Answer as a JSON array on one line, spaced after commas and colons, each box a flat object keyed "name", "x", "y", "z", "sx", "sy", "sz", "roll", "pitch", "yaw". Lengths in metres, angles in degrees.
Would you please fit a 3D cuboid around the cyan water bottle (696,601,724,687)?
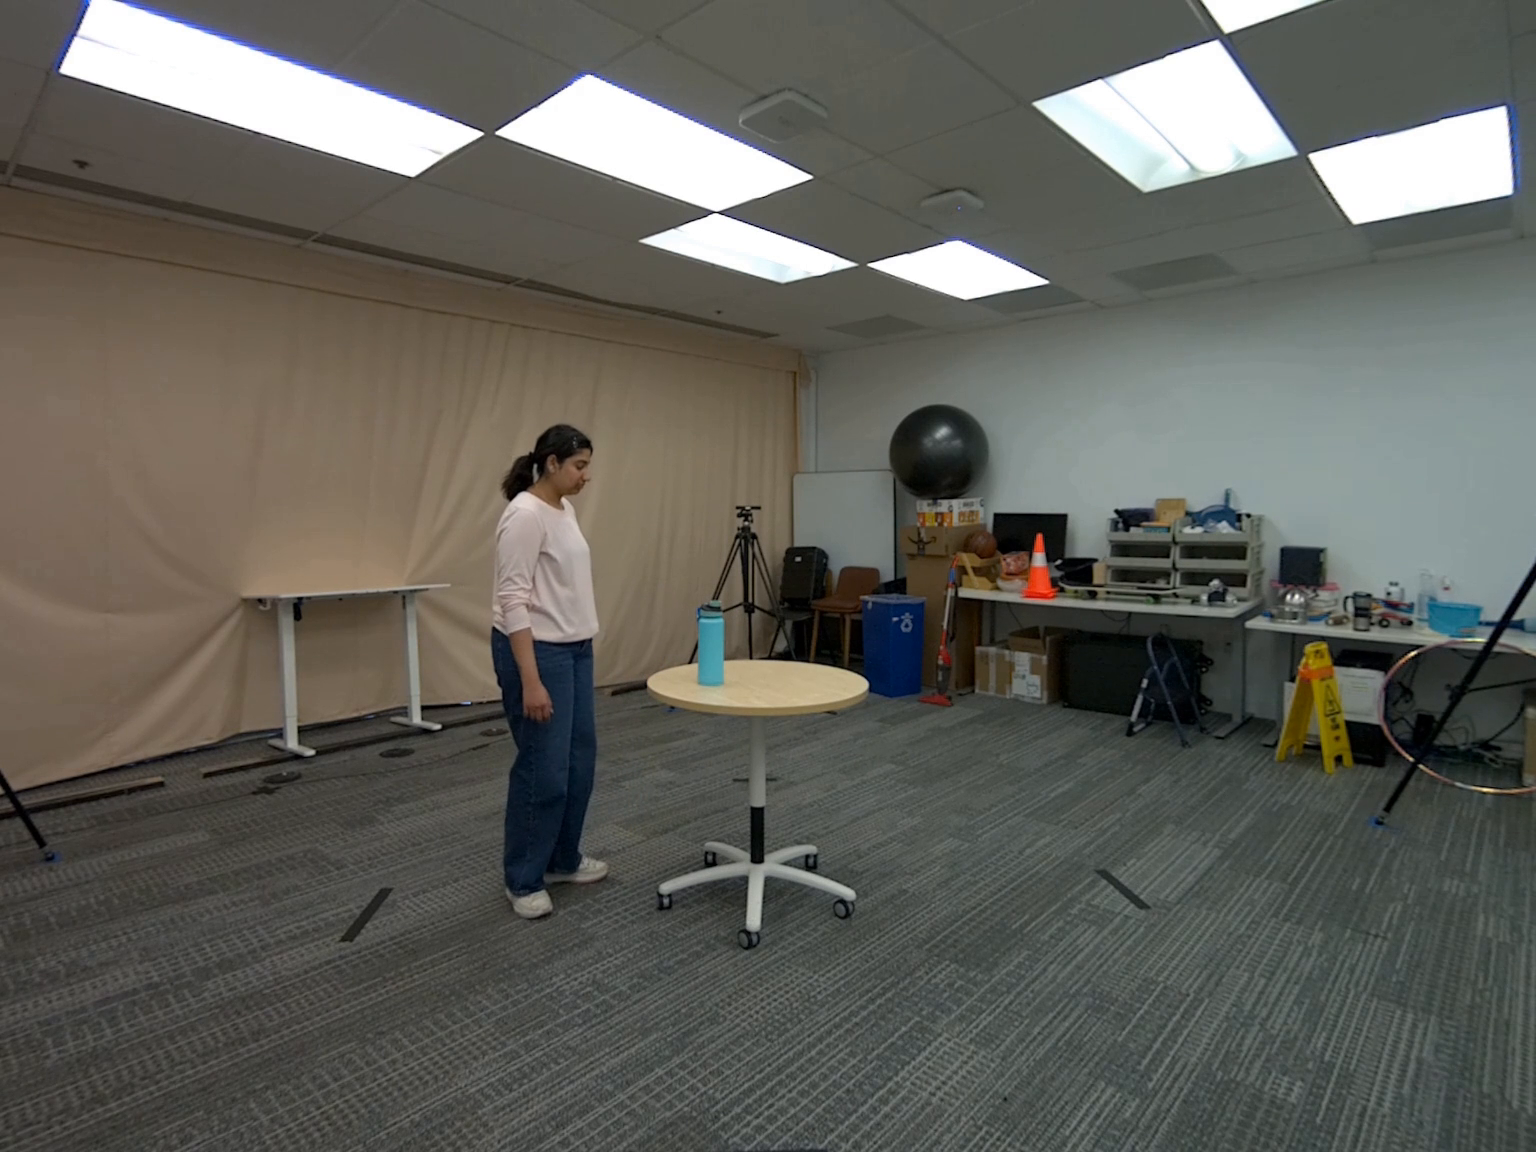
[{"name": "cyan water bottle", "x": -0.198, "y": 0.230, "z": 2.871, "sx": 0.092, "sy": 0.282, "sz": 0.093, "roll": -2, "pitch": 4, "yaw": -2}]
